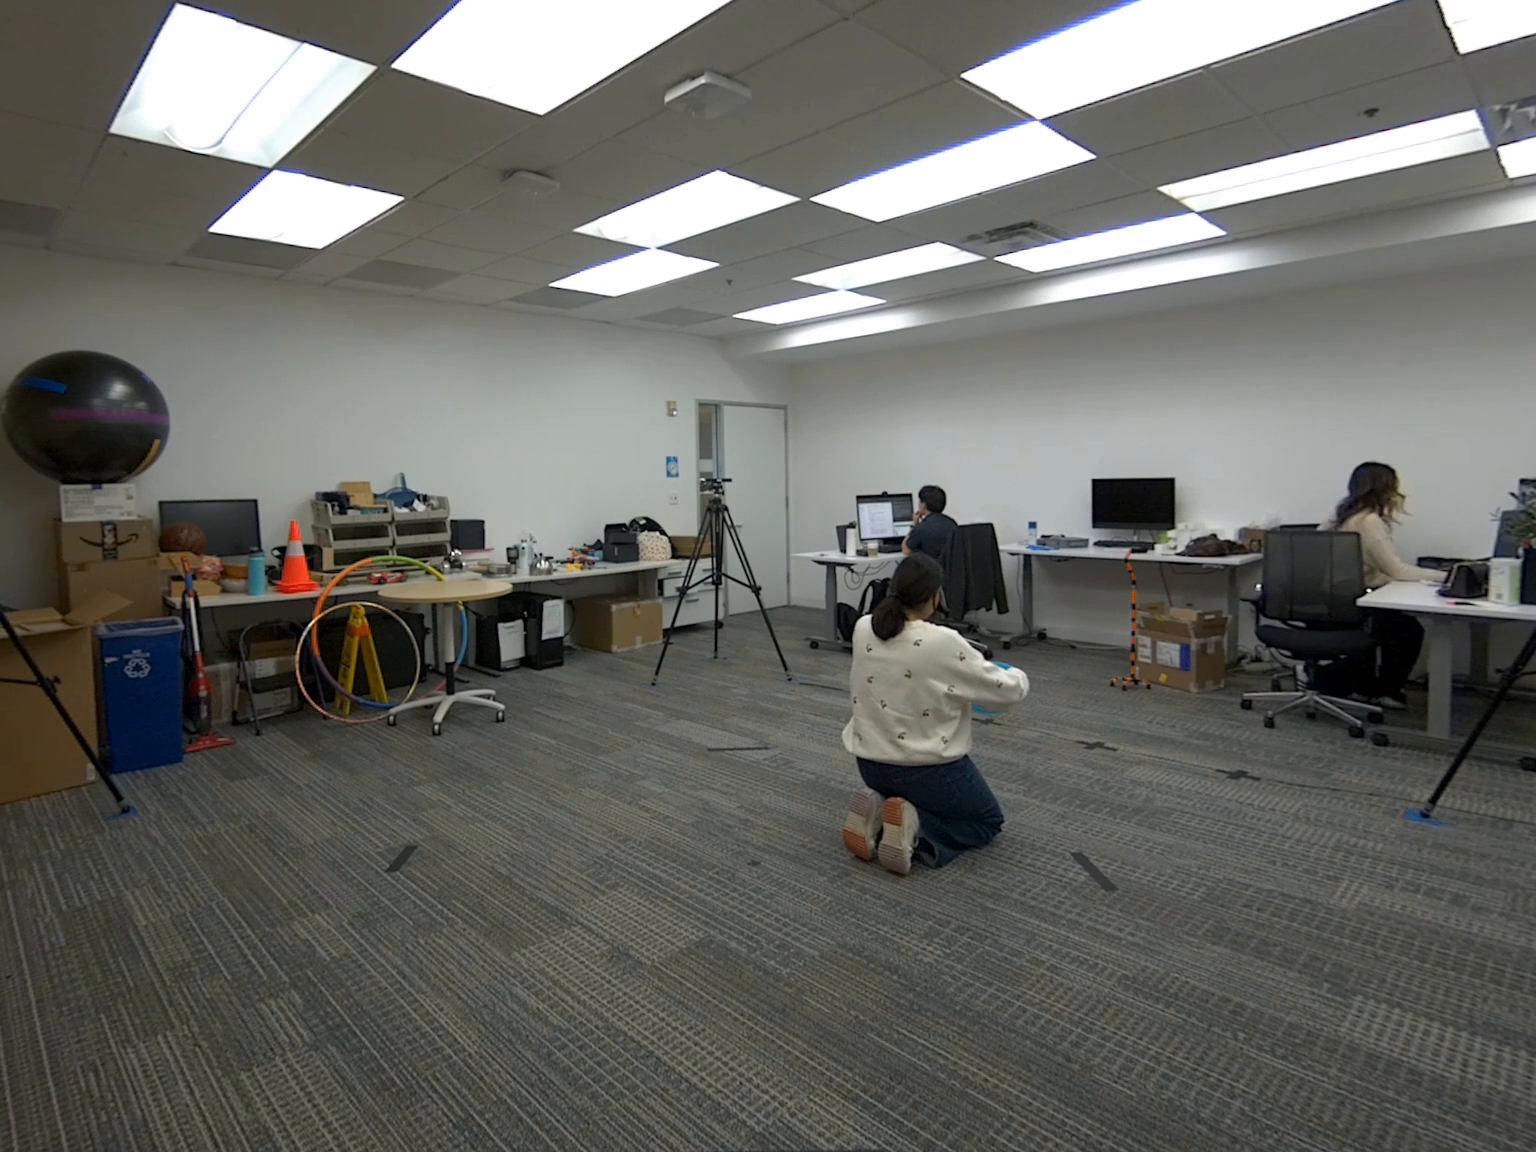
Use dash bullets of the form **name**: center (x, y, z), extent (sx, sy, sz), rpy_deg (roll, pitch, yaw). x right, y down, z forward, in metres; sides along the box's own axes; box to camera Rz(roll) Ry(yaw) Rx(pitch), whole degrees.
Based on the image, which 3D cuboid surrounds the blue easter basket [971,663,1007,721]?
- **blue easter basket**: center (0.883, 0.449, 3.428), extent (0.243, 0.154, 0.246), rpy_deg (-3, 11, -1)
